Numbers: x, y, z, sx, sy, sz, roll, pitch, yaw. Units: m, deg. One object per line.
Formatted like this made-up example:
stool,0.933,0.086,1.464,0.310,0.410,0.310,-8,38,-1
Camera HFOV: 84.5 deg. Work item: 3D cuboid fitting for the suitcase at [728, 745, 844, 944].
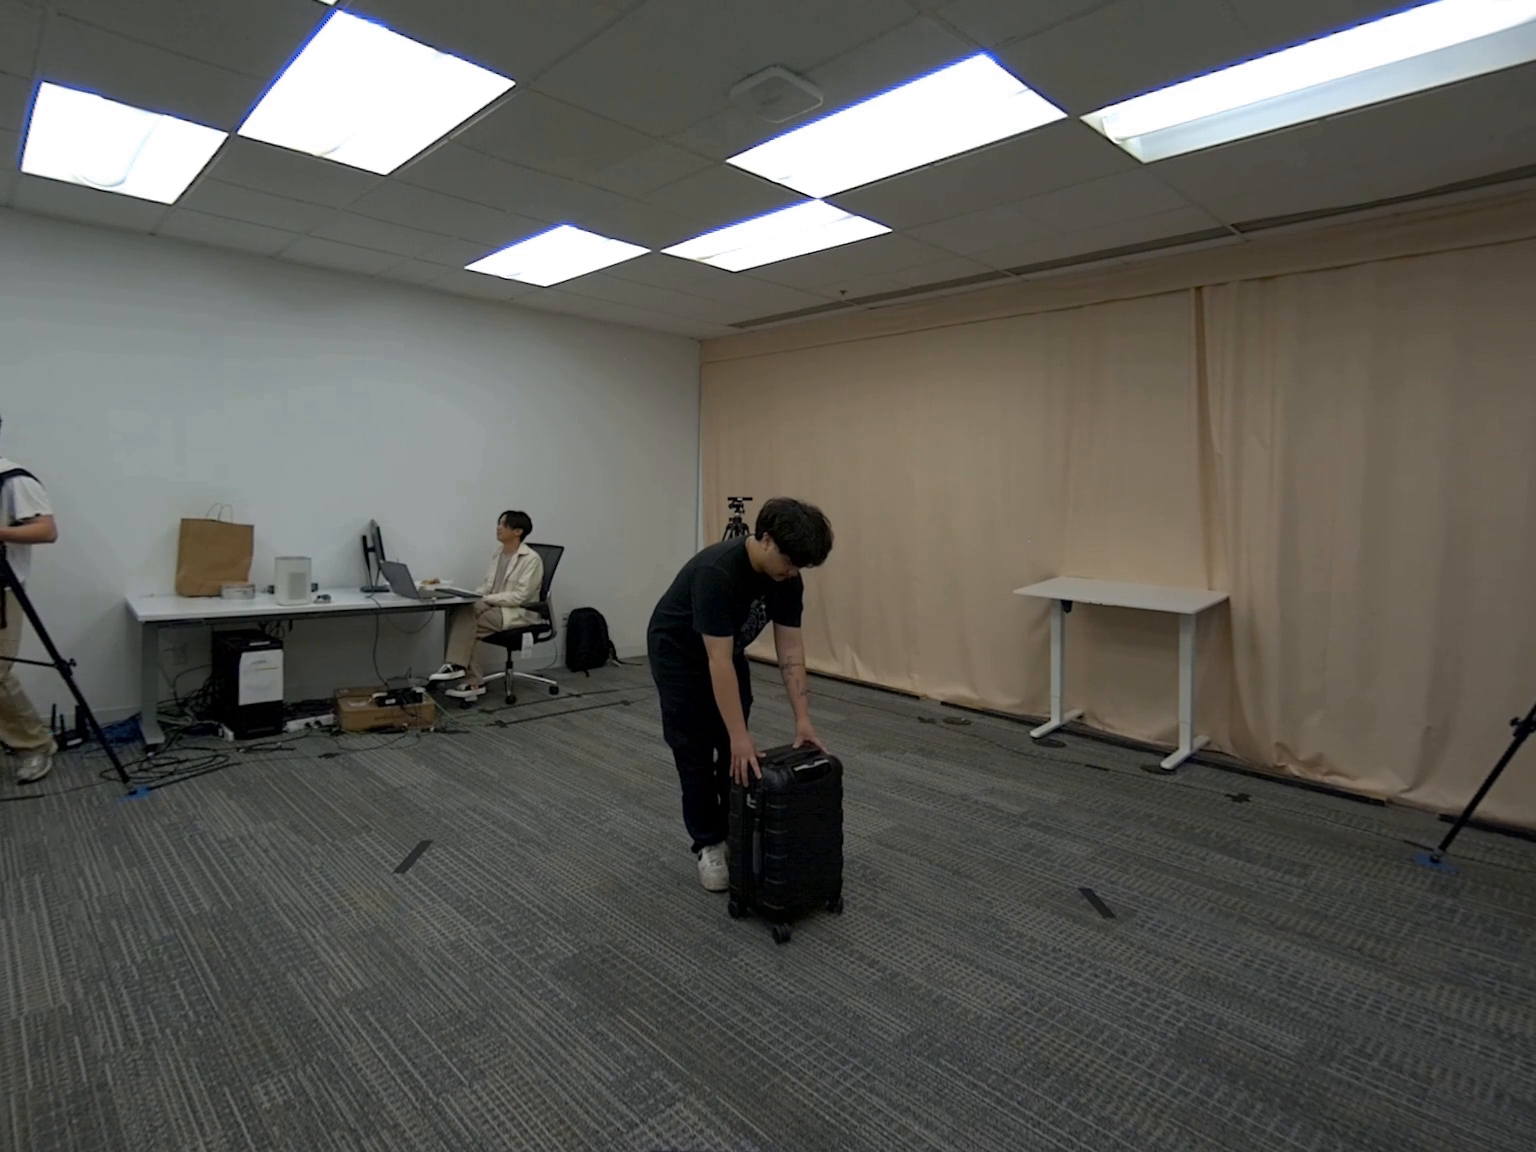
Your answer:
suitcase,0.057,0.864,2.827,0.367,0.549,0.254,-2,2,-43
